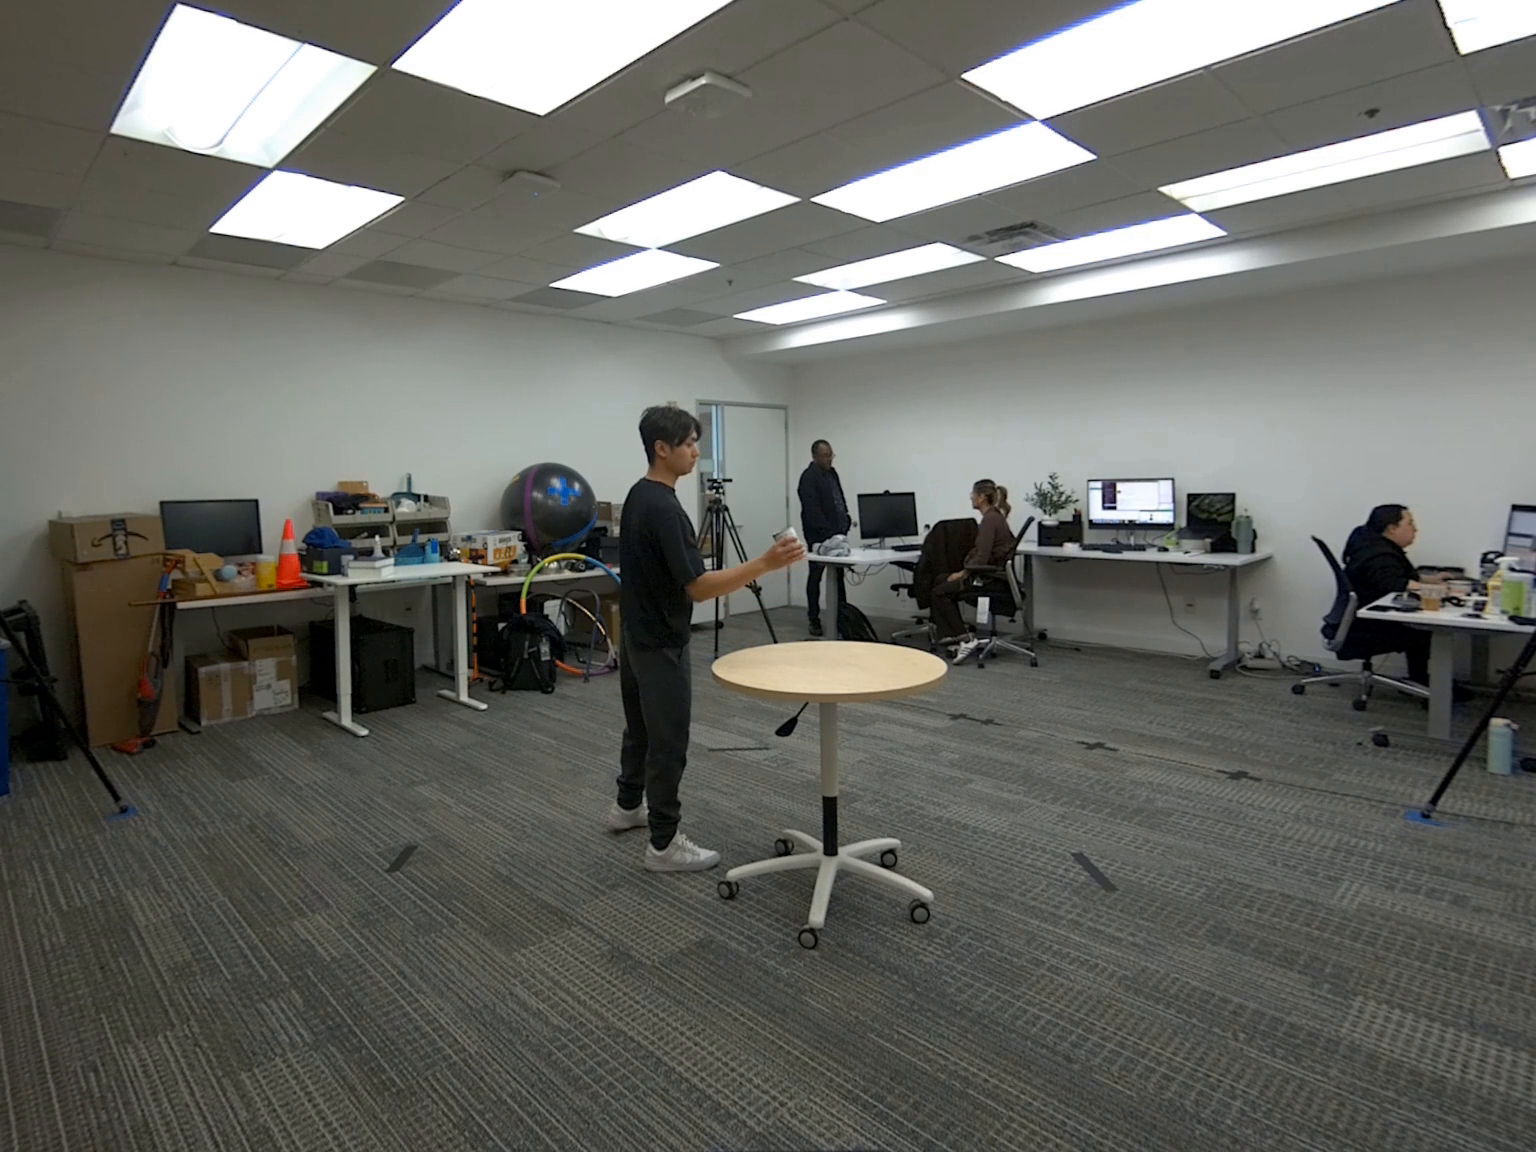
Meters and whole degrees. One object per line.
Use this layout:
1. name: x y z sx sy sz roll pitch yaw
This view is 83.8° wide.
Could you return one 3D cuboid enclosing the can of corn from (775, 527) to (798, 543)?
1. can of corn: 0.074 -0.105 2.810 0.074 0.111 0.074 -25 -2 -2
